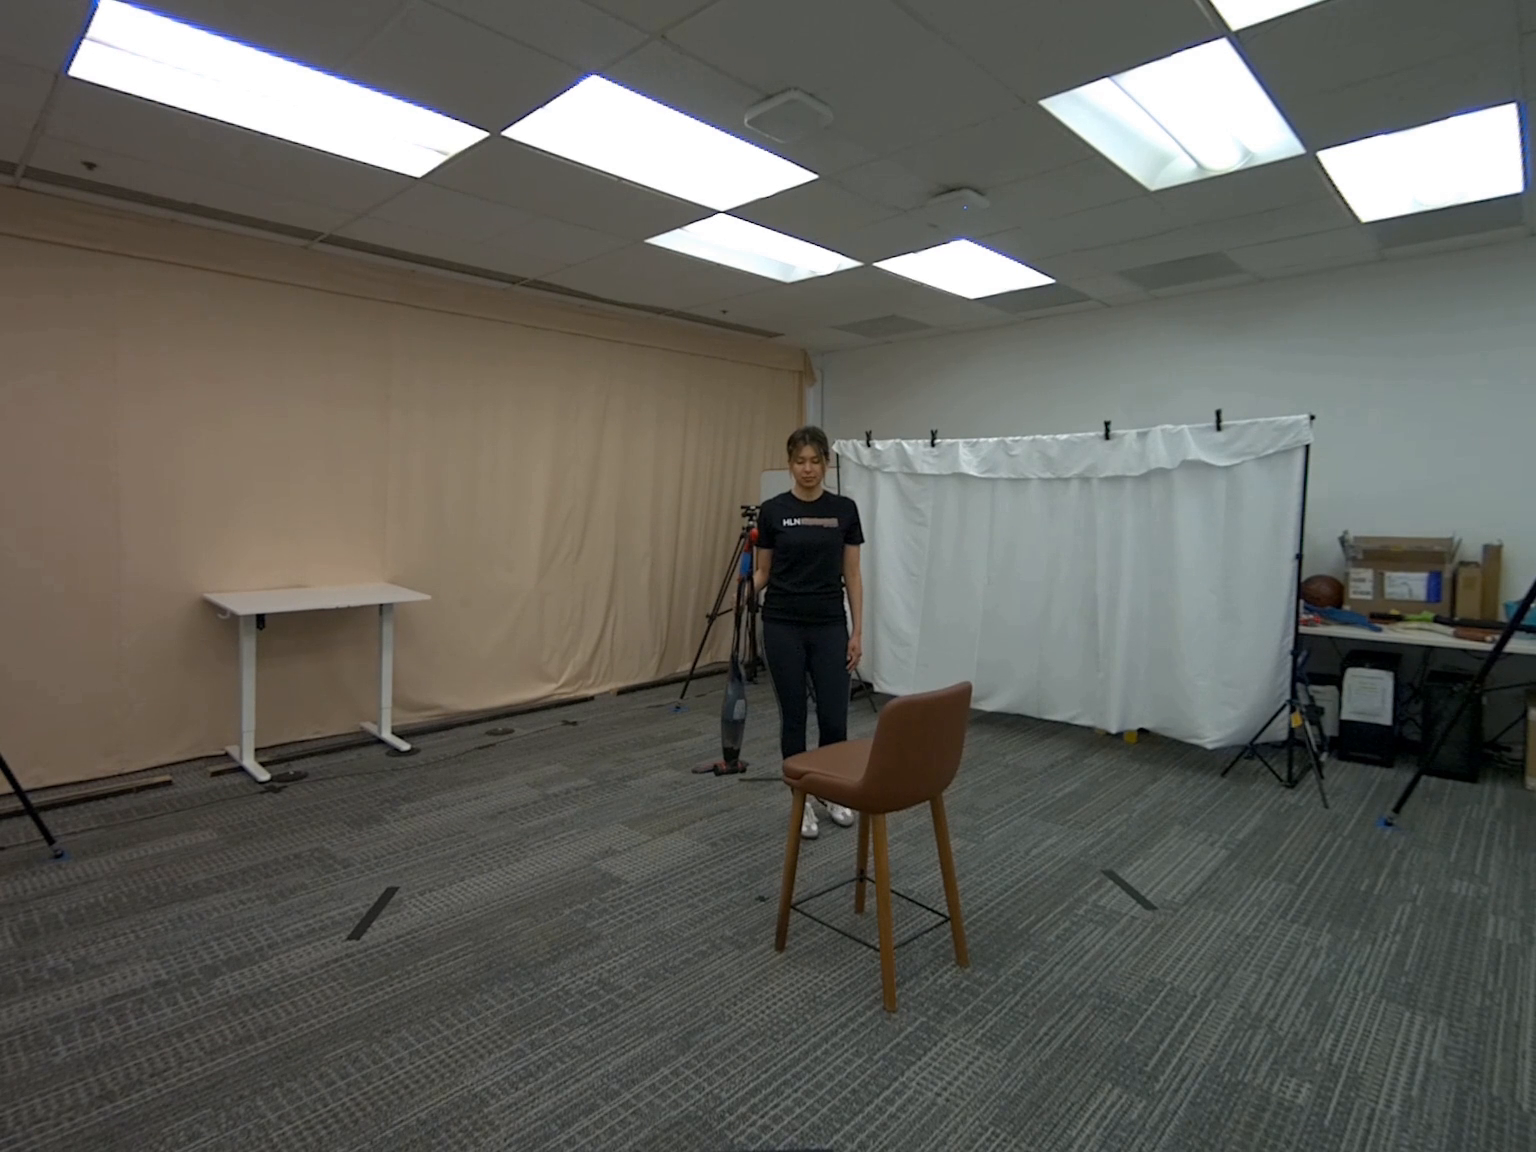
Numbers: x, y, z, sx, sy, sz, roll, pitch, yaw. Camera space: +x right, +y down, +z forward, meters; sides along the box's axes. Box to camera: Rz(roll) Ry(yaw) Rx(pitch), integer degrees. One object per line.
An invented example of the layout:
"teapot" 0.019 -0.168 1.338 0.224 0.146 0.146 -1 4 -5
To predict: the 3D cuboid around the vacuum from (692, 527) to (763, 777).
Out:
"vacuum" -0.114 0.334 3.417 0.246 1.042 0.149 0 16 -30
